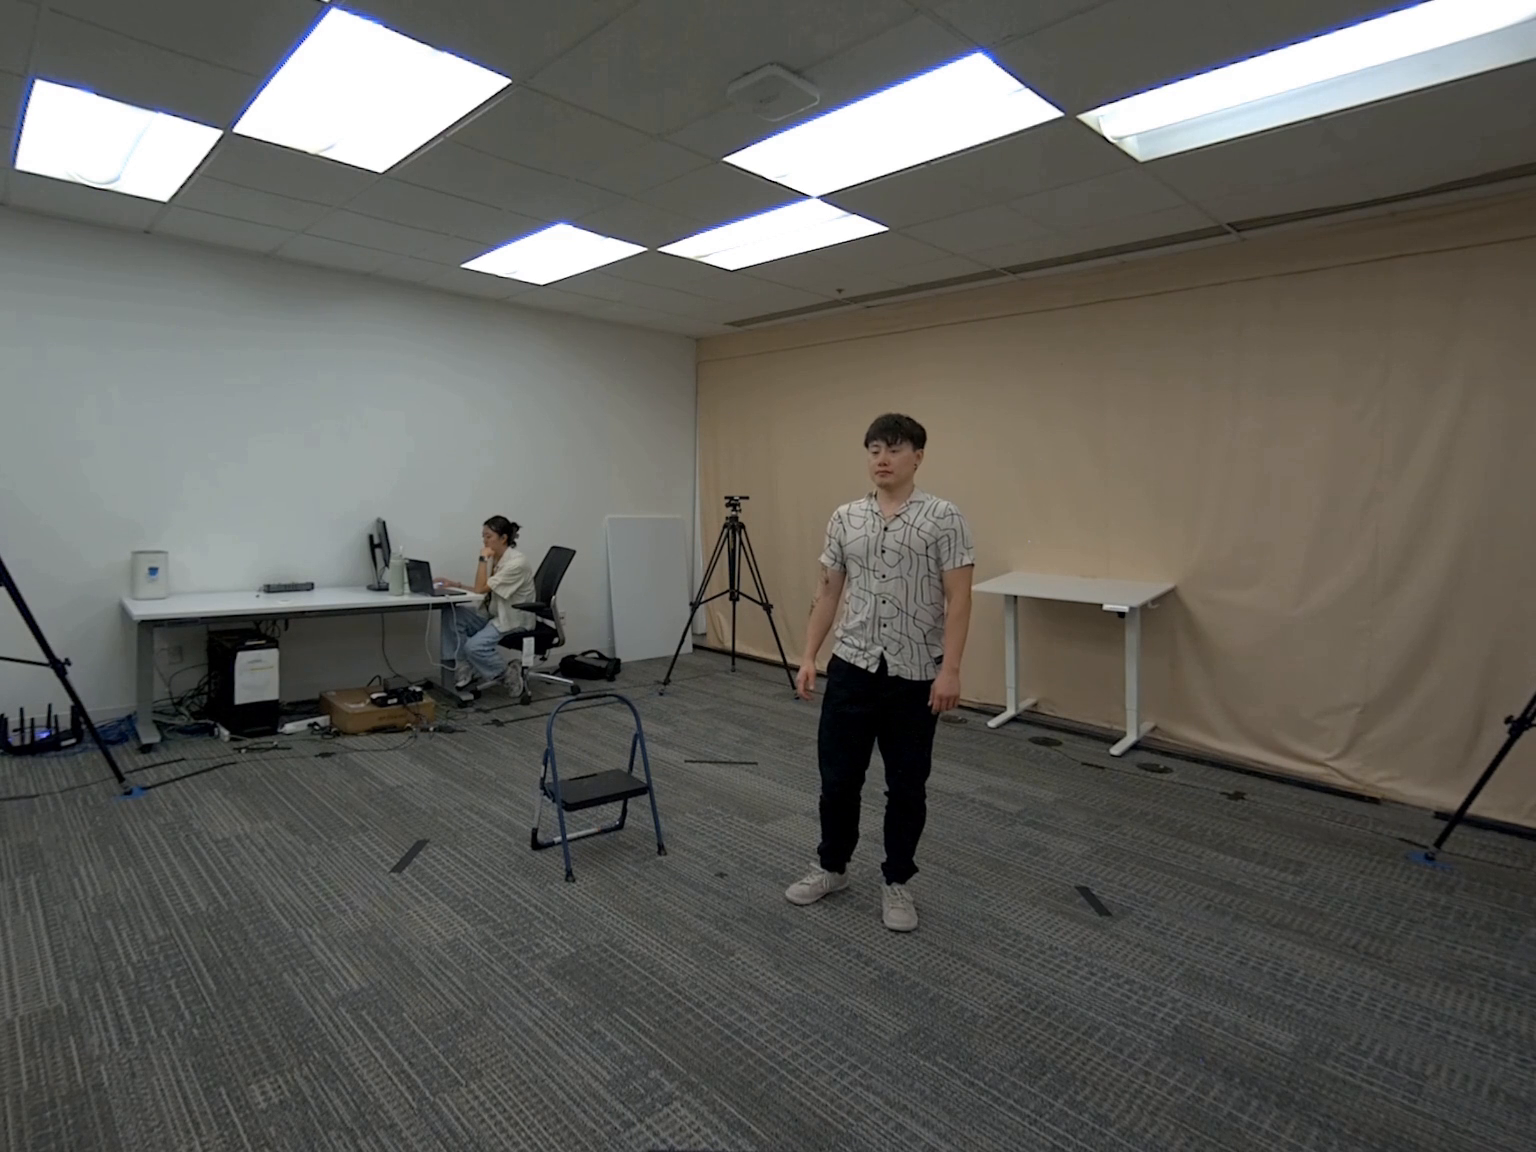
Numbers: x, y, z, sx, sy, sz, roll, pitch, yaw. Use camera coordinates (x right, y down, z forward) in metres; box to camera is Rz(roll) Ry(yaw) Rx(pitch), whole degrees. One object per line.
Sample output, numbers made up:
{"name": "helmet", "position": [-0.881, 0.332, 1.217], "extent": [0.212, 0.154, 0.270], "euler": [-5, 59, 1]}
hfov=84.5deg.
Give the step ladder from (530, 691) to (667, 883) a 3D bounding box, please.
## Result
{"name": "step ladder", "position": [-0.658, 0.770, 3.266], "extent": [0.421, 0.604, 0.358], "euler": [-2, 5, -39]}
